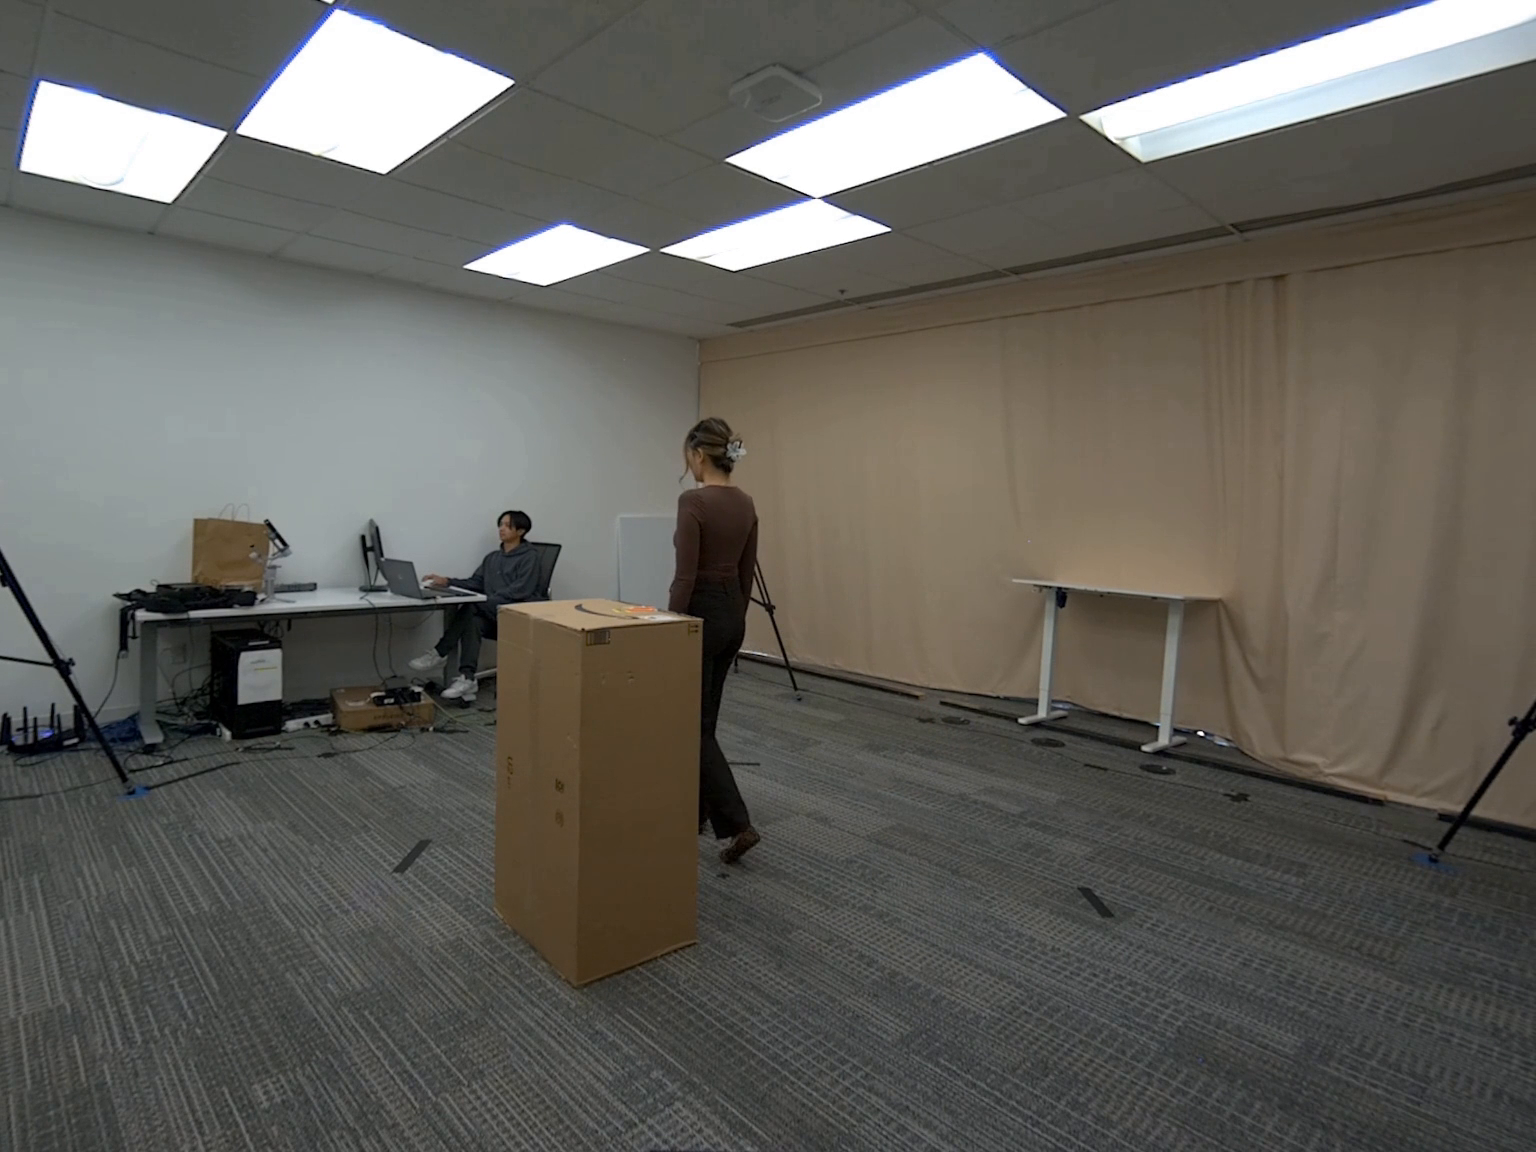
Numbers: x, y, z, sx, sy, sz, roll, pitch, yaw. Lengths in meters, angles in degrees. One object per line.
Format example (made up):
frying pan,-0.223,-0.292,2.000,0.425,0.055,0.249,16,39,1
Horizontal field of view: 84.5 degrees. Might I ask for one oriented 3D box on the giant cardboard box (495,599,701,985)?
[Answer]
giant cardboard box,-0.563,0.623,2.694,0.436,1.025,0.598,0,3,-38
